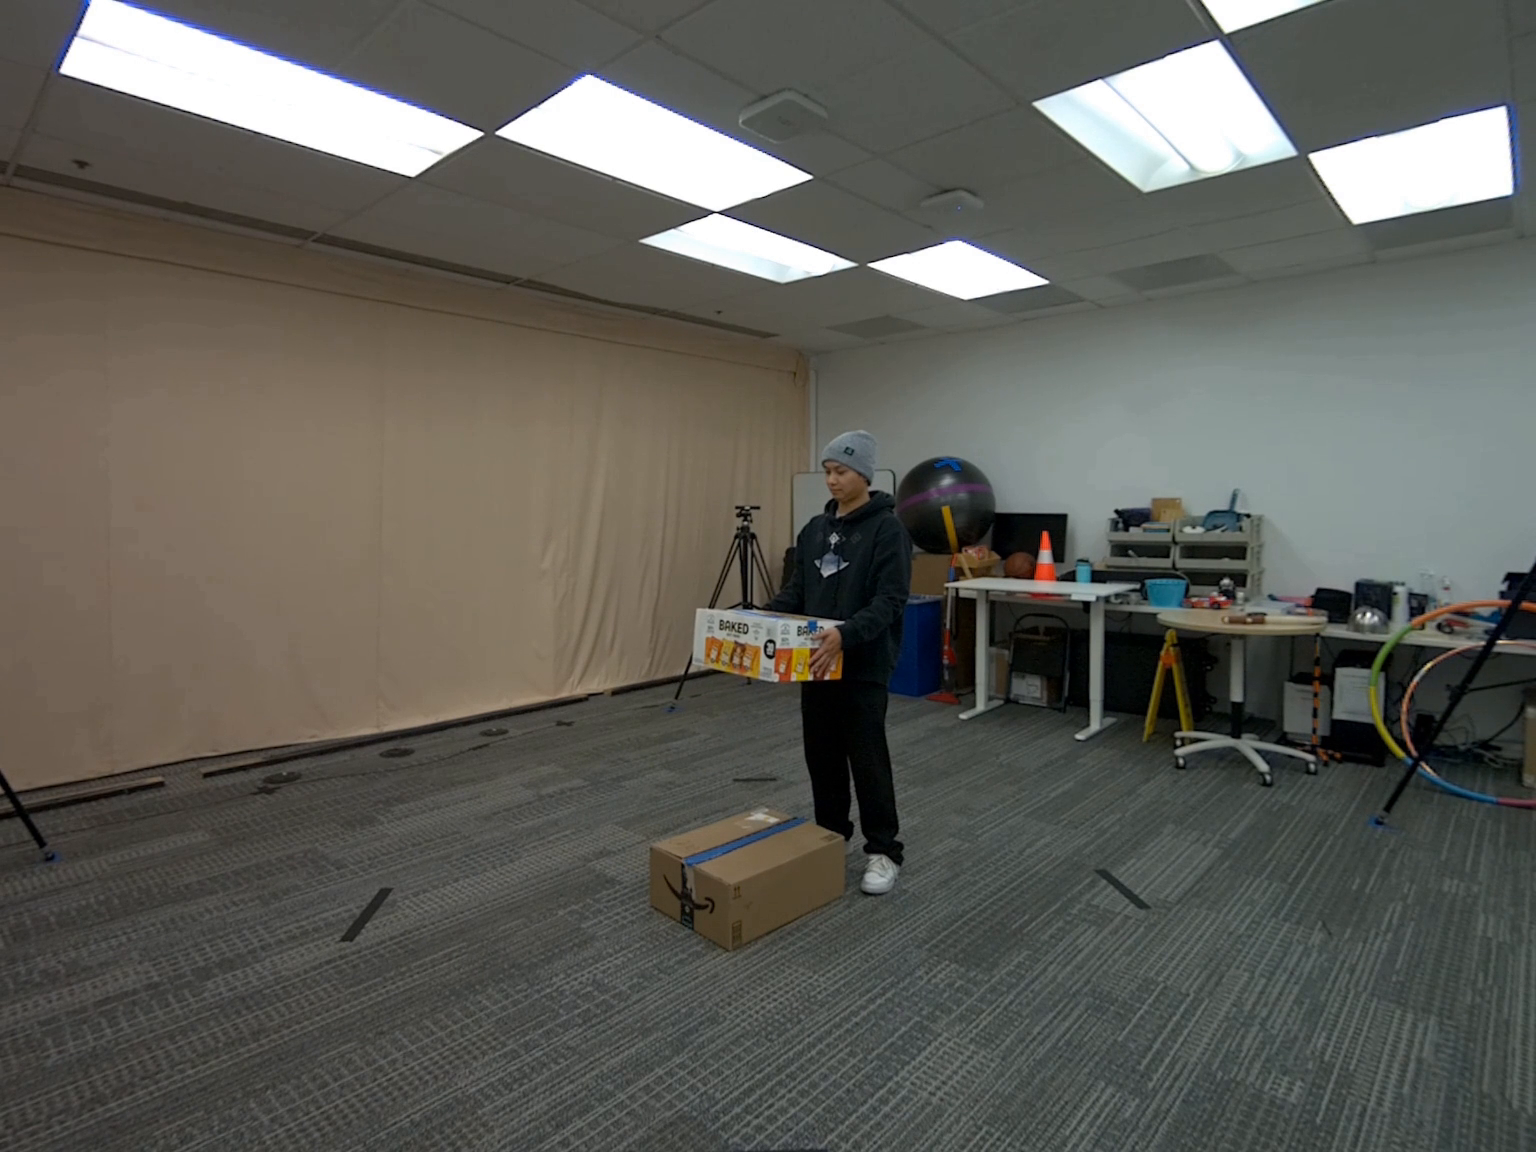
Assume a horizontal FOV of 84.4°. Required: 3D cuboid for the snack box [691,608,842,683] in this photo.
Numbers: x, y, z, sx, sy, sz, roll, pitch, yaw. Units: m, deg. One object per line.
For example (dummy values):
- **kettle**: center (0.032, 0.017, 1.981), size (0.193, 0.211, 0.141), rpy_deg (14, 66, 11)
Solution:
- **snack box**: center (0.000, 0.239, 2.969), size (0.329, 0.206, 0.419), rpy_deg (5, 0, -43)
